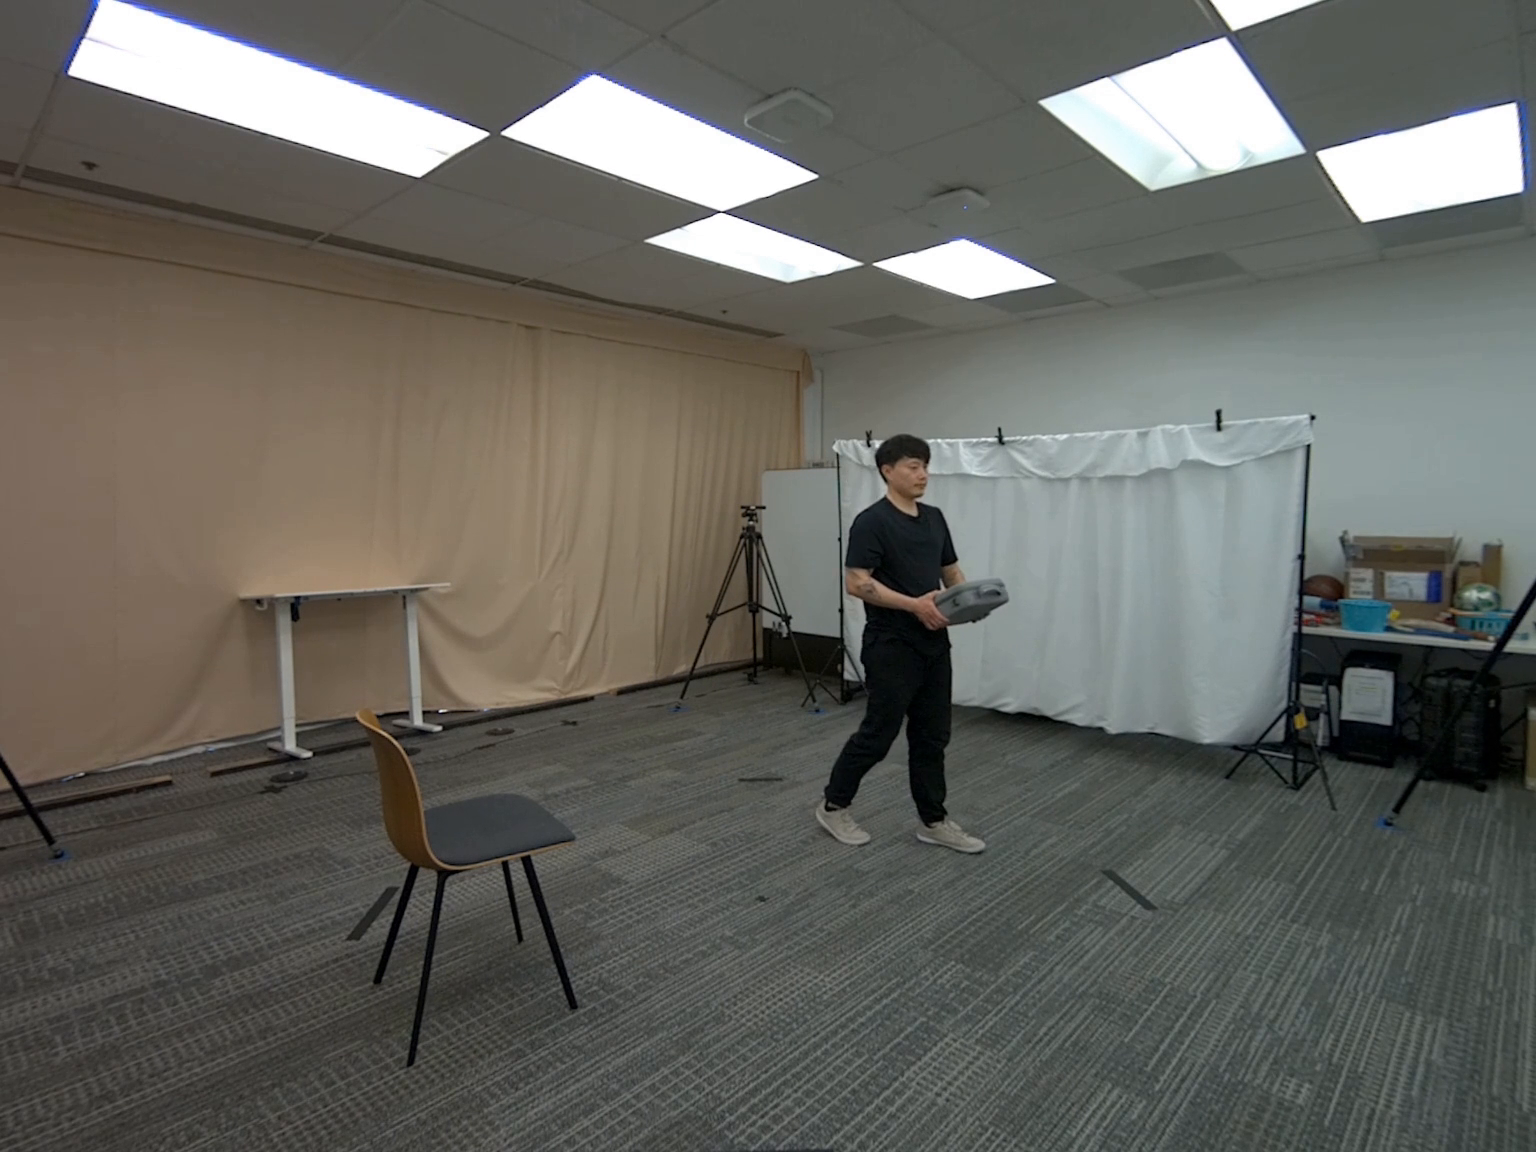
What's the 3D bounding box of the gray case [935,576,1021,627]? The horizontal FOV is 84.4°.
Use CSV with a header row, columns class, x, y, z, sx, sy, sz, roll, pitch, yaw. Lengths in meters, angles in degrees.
class,x,y,z,sx,sy,sz,roll,pitch,yaw
gray case,0.750,0.101,3.202,0.249,0.106,0.265,-5,-17,-35
